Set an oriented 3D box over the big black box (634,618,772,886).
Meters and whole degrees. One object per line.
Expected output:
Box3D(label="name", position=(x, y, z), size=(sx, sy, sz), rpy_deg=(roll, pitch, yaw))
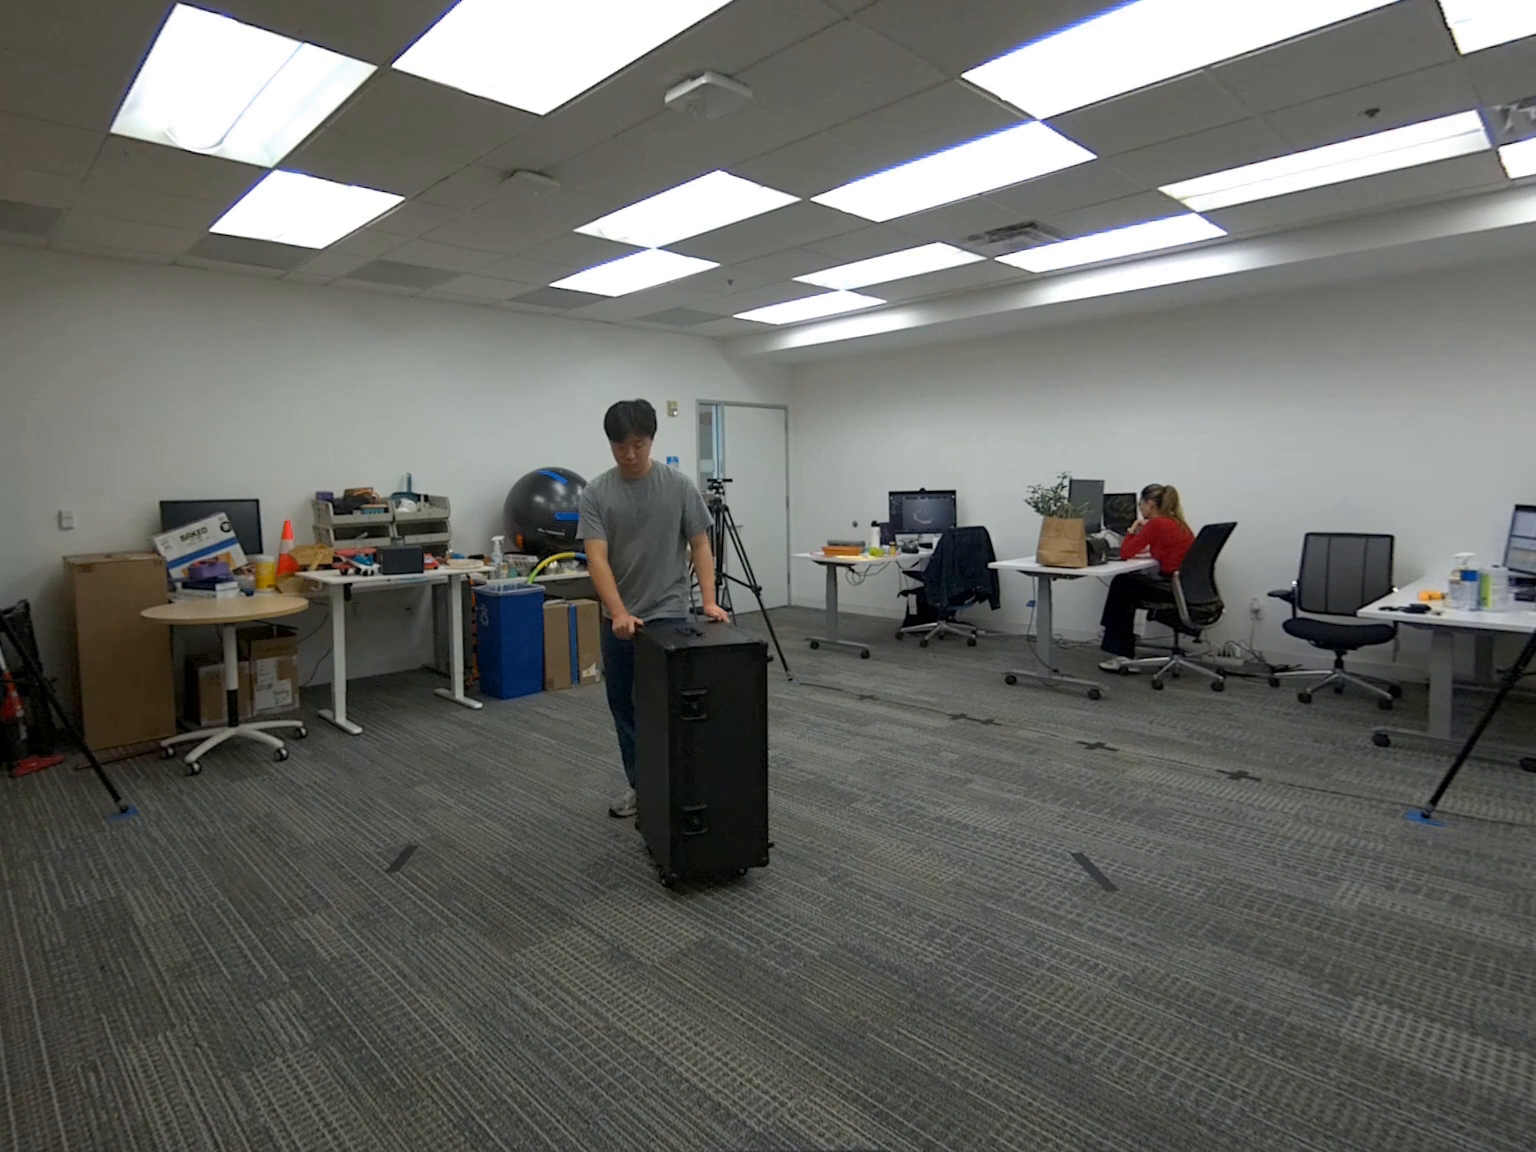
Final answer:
Box3D(label="big black box", position=(-0.240, 0.624, 3.086), size=(0.389, 0.859, 0.533), rpy_deg=(-1, 4, -21))
